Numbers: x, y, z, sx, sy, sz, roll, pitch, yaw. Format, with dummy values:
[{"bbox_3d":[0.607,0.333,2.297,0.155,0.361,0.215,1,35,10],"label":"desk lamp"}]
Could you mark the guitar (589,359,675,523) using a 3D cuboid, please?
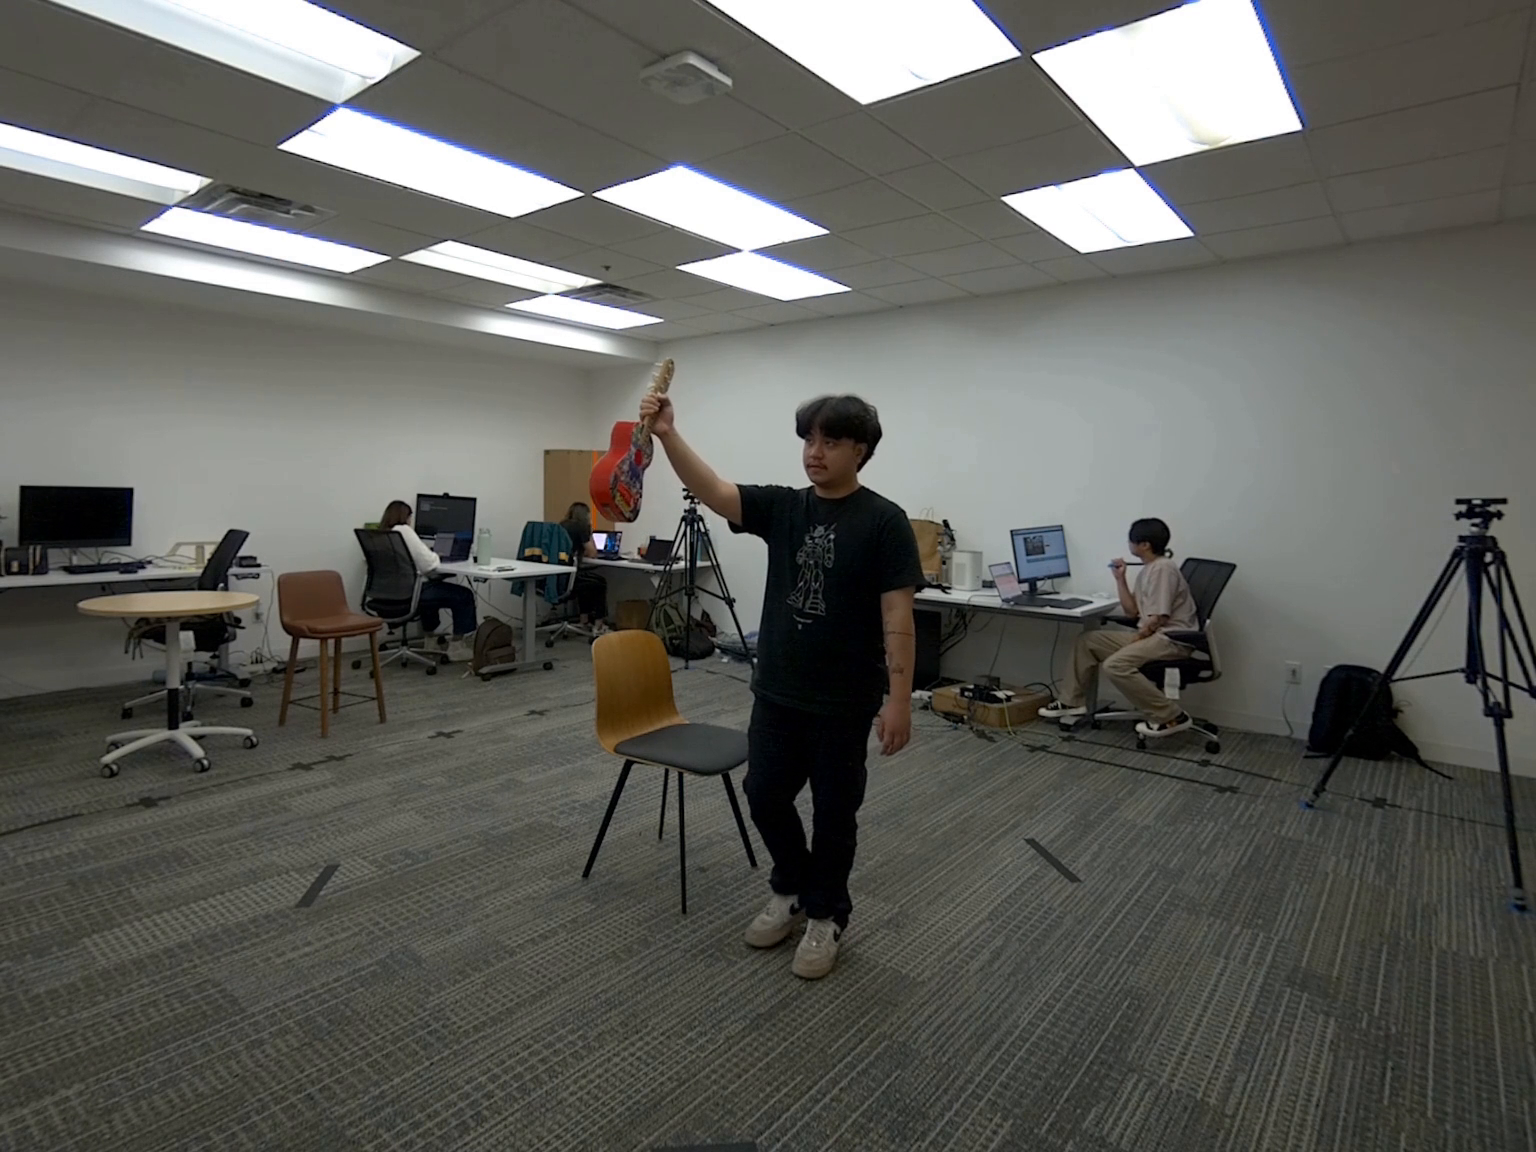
[{"bbox_3d":[-0.358,-0.366,2.317,0.072,0.506,0.186,6,-33,17],"label":"guitar"}]
